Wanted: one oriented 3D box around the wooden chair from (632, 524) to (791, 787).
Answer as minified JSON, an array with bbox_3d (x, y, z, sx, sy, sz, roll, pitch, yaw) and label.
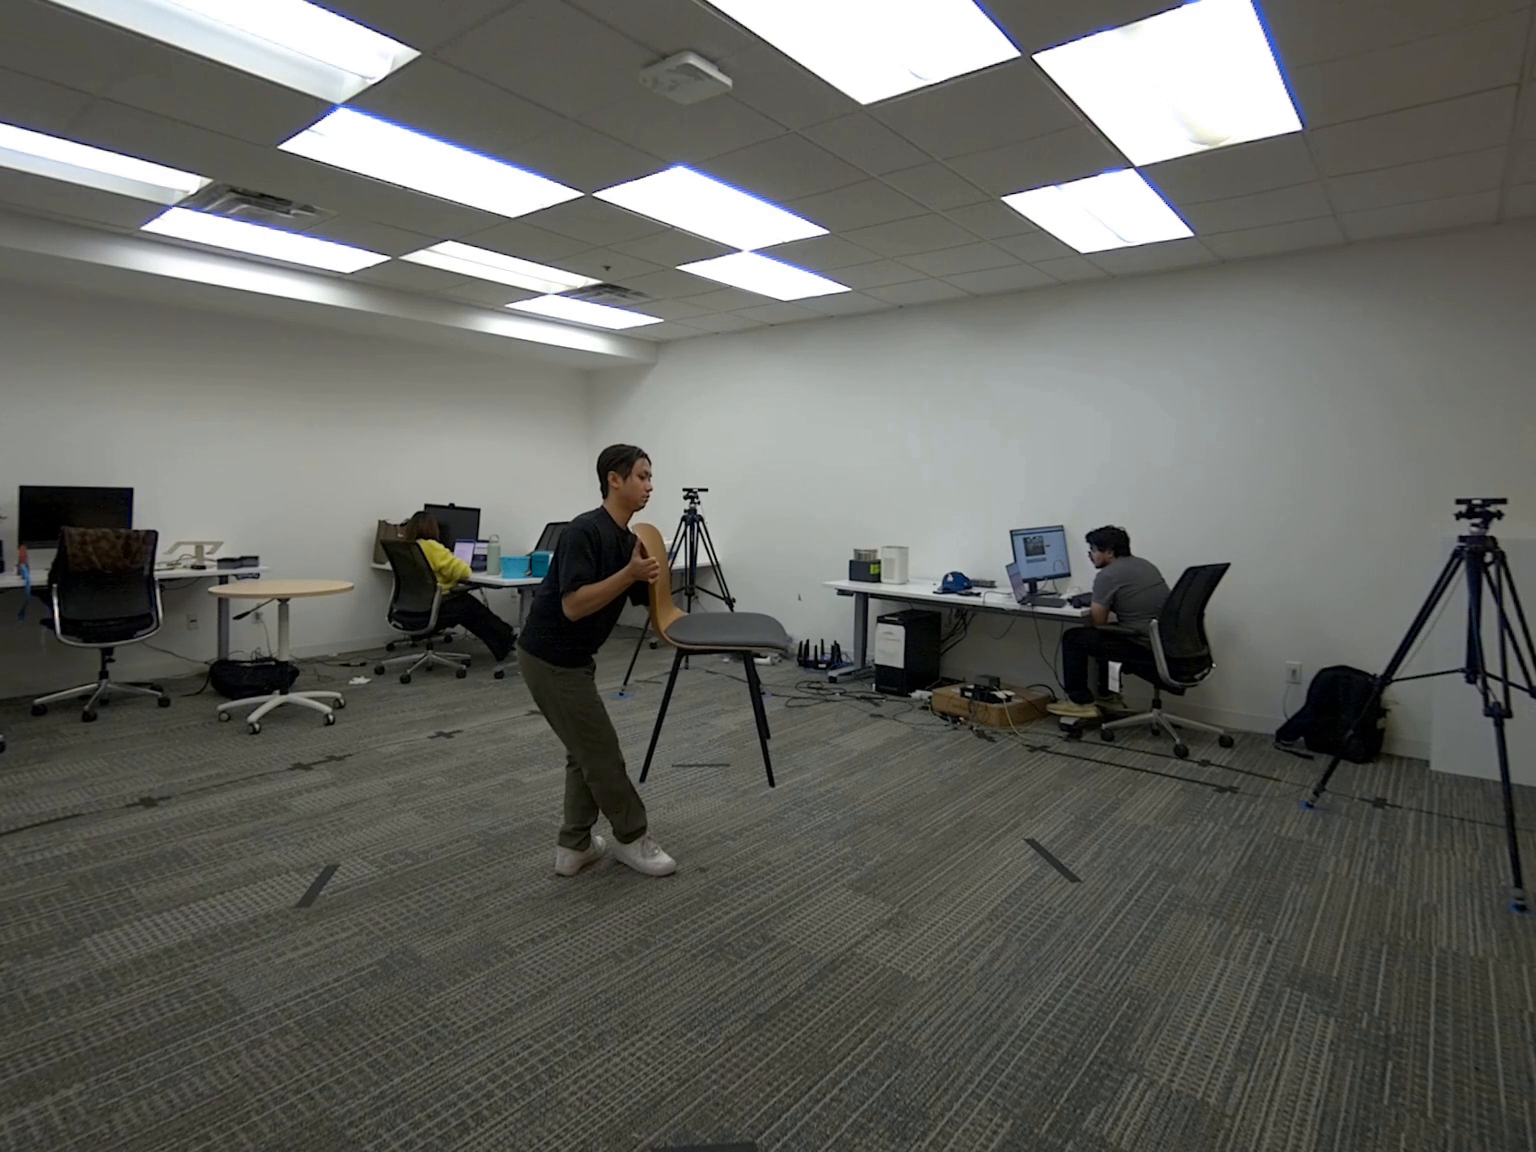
[{"bbox_3d":[-0.197,0.246,3.010,0.523,0.870,0.482,-3,8,-1],"label":"wooden chair"}]
